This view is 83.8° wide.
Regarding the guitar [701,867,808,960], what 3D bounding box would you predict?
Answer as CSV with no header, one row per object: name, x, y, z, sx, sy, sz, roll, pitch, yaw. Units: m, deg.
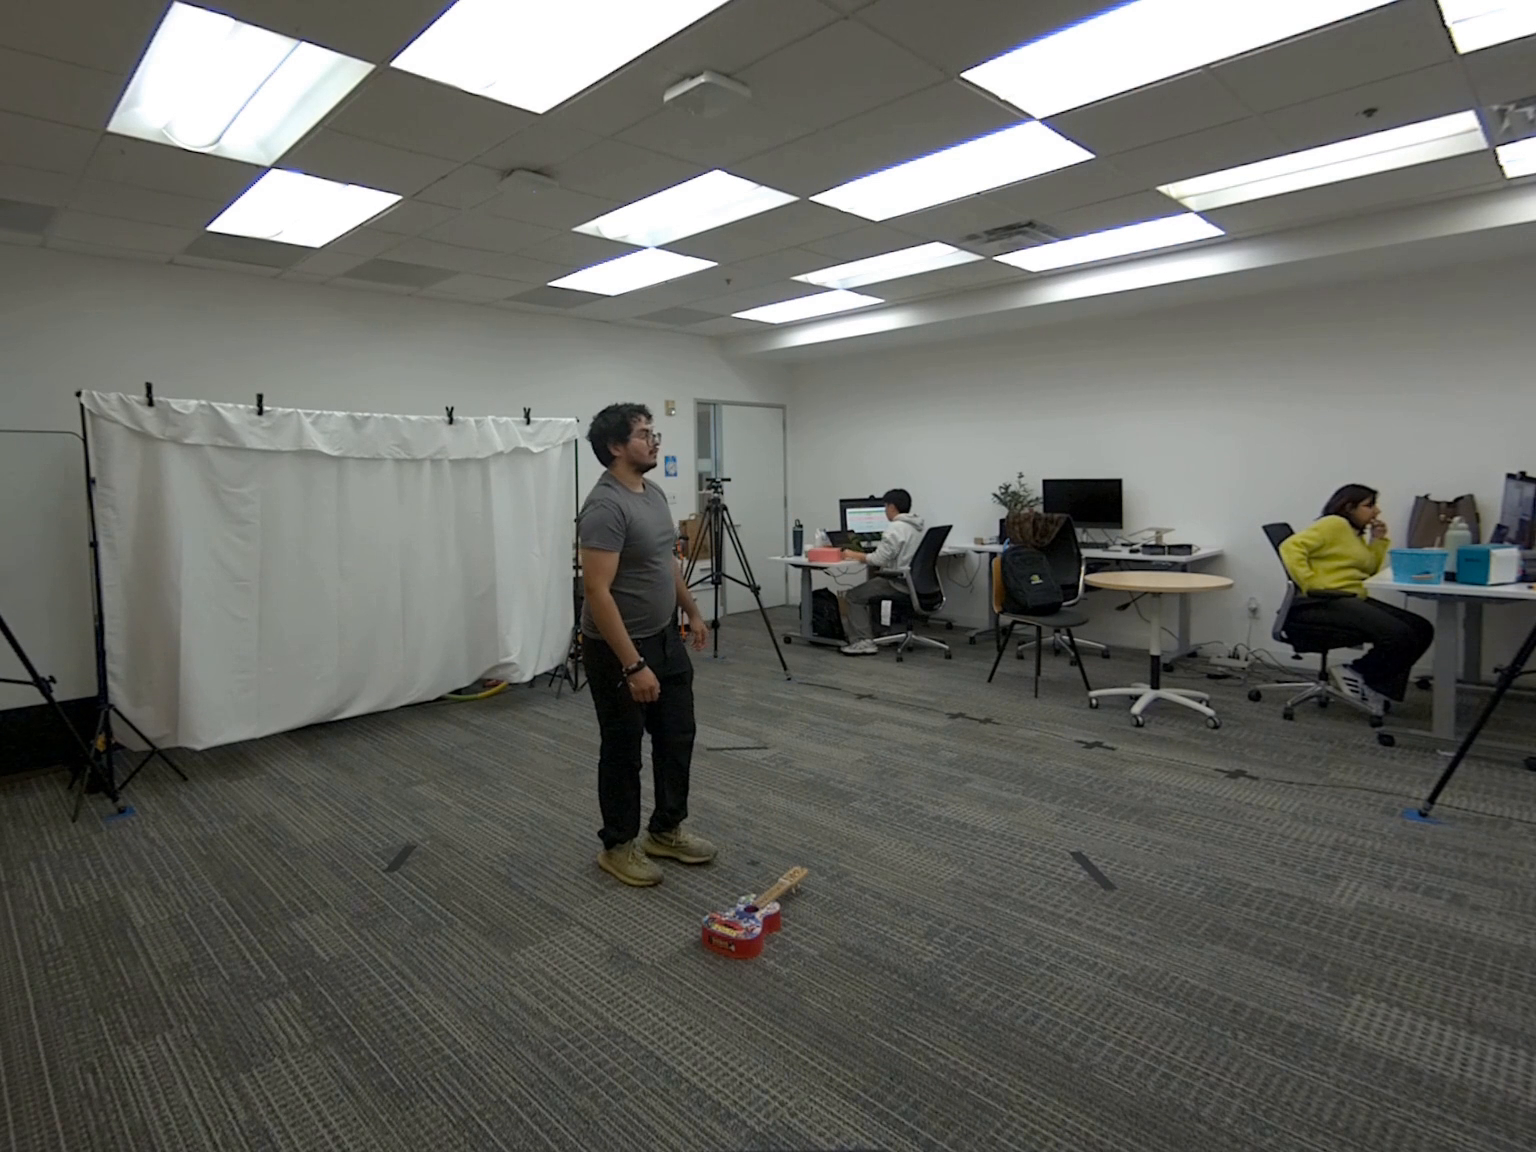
guitar,0.016,1.058,2.694,0.199,0.070,0.485,4,9,42
